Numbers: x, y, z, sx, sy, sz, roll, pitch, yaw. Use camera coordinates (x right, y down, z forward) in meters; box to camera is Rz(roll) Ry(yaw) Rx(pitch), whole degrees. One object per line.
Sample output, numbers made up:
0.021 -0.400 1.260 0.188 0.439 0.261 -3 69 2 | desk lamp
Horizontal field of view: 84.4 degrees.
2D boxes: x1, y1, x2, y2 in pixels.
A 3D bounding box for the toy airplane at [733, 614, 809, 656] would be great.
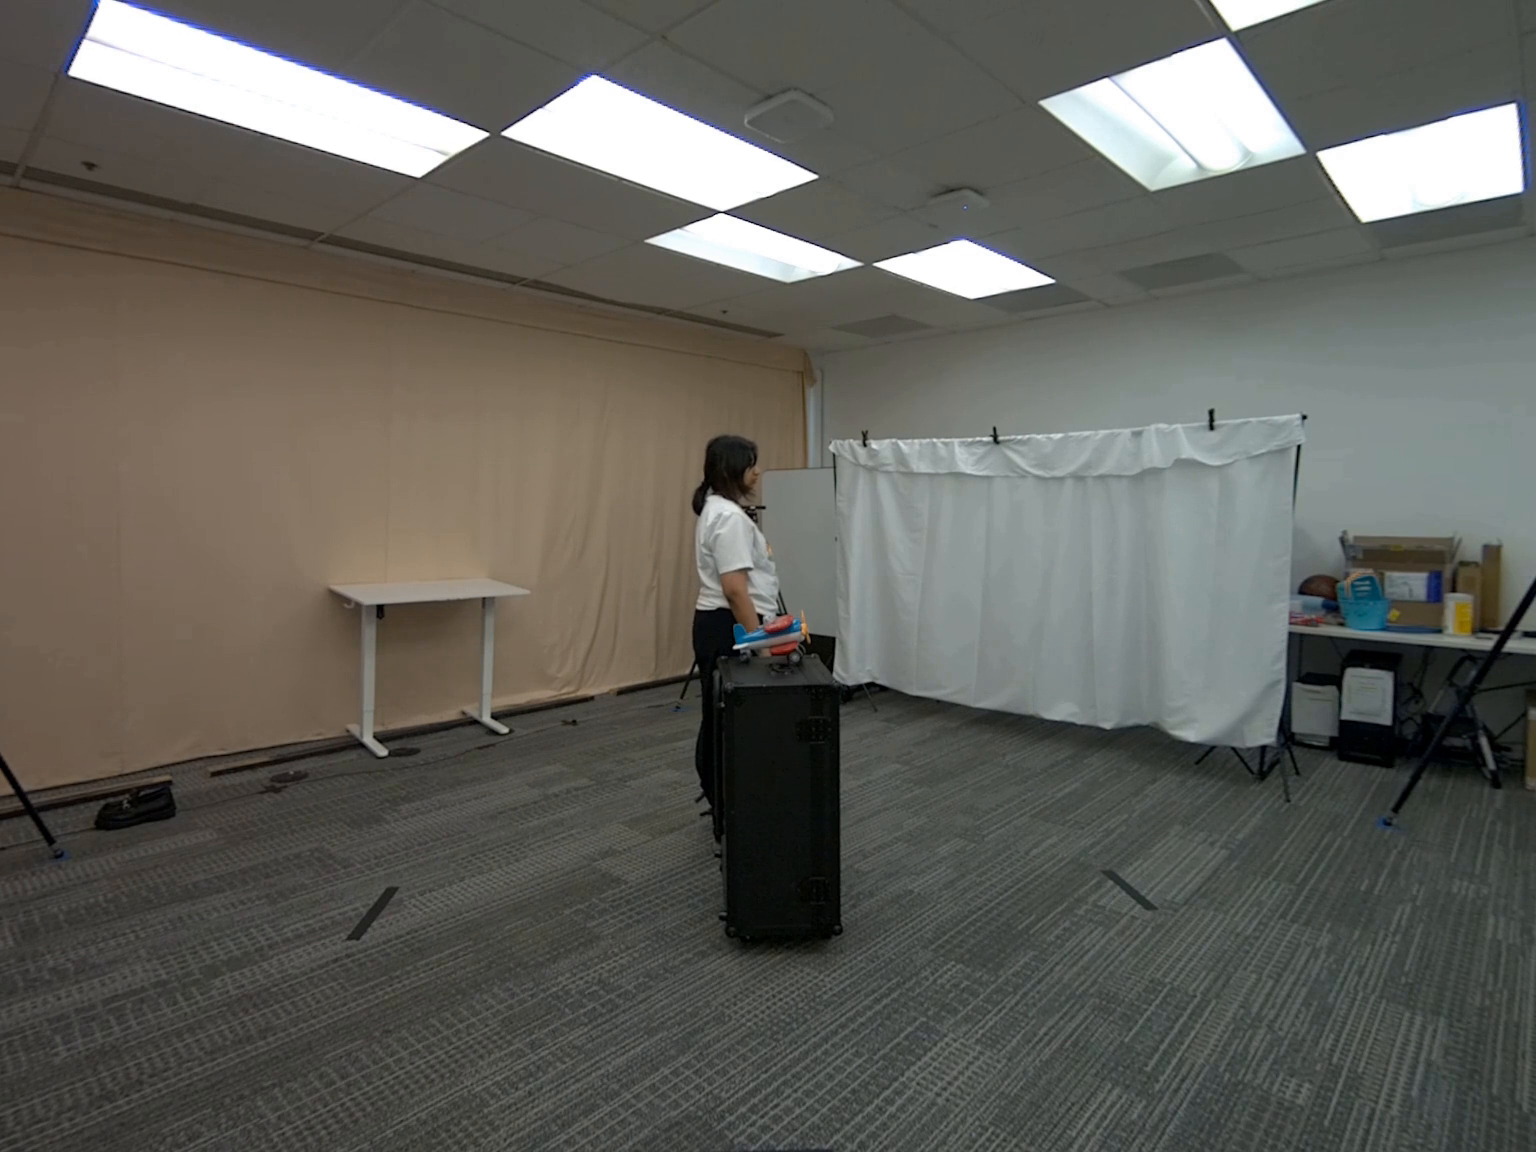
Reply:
0.016 0.223 2.905 0.255 0.156 0.256 -2 5 -17 | toy airplane
